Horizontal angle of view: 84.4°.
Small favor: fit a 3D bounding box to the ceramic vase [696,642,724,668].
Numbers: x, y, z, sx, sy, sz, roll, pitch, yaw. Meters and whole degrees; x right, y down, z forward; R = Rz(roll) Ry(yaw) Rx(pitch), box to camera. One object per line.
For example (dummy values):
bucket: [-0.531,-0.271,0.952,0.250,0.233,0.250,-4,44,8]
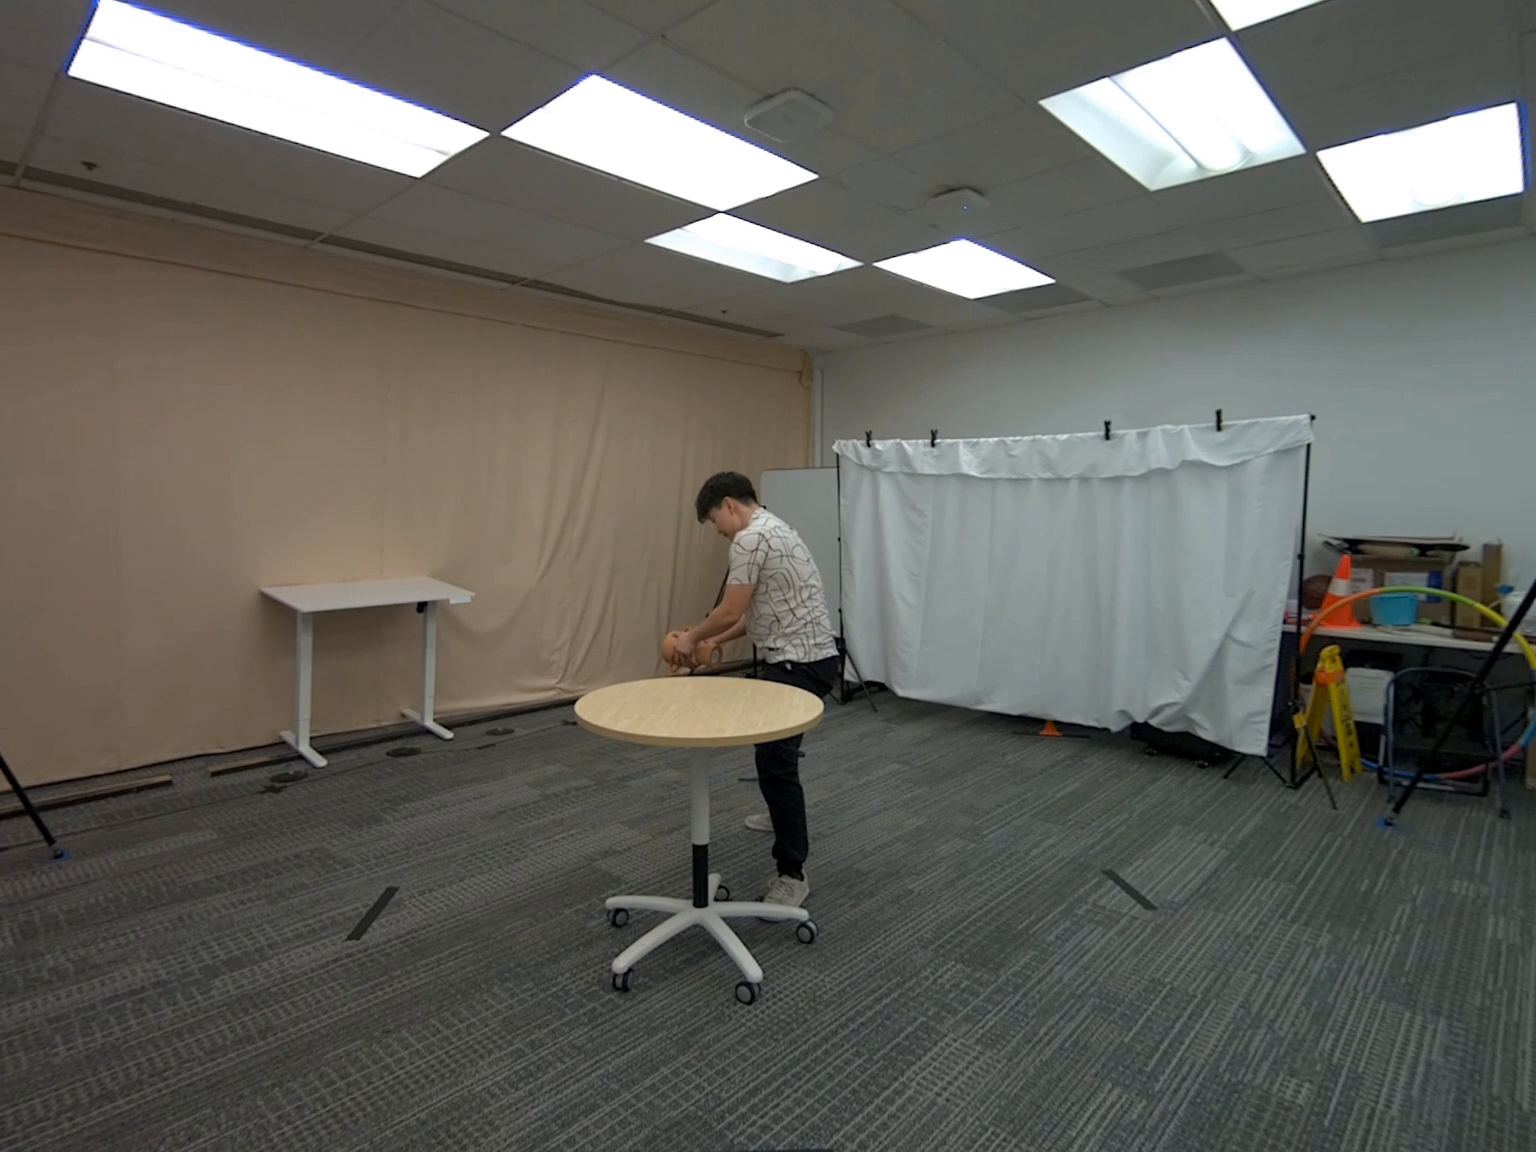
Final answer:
ceramic vase: [-0.302,0.307,3.393,0.226,0.157,0.132,9,17,29]
